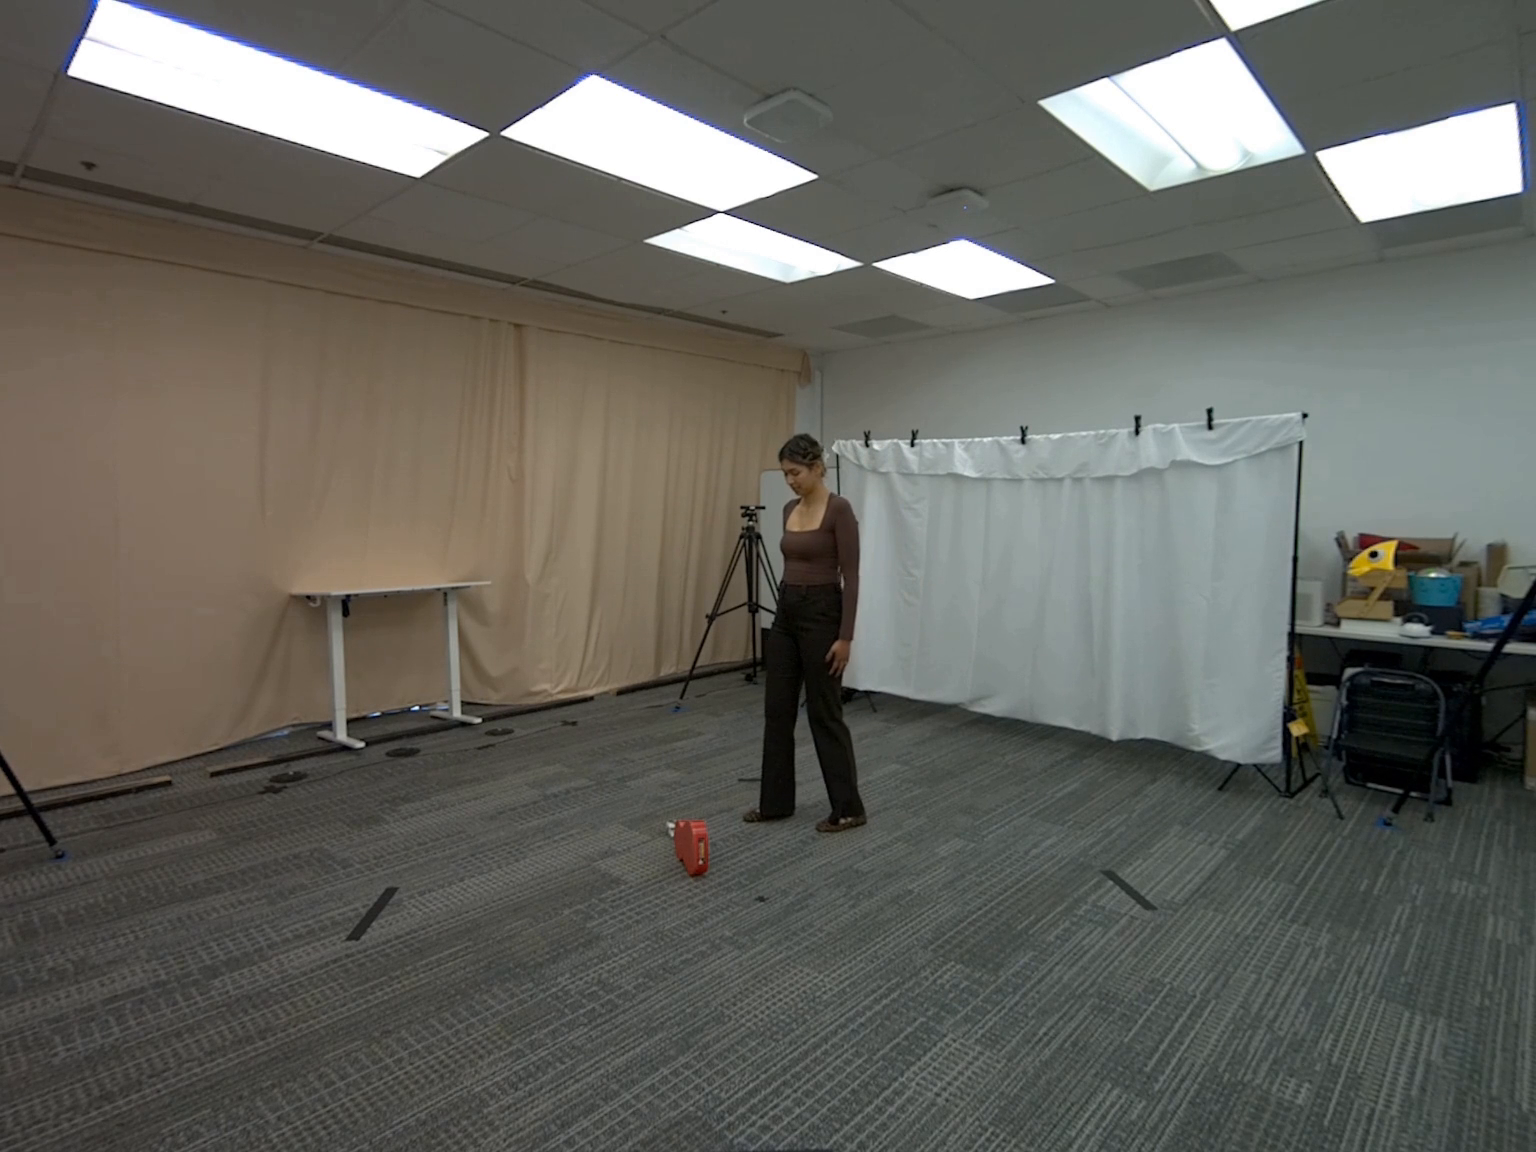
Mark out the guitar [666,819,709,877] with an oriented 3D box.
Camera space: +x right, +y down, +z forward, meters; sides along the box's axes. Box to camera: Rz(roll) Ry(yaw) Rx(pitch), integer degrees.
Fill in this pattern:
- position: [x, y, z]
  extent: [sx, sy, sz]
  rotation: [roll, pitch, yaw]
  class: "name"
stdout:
- position: [-0.334, 1.073, 3.362]
  extent: [0.069, 0.195, 0.503]
  rotation: [2, -15, -21]
  class: "guitar"
